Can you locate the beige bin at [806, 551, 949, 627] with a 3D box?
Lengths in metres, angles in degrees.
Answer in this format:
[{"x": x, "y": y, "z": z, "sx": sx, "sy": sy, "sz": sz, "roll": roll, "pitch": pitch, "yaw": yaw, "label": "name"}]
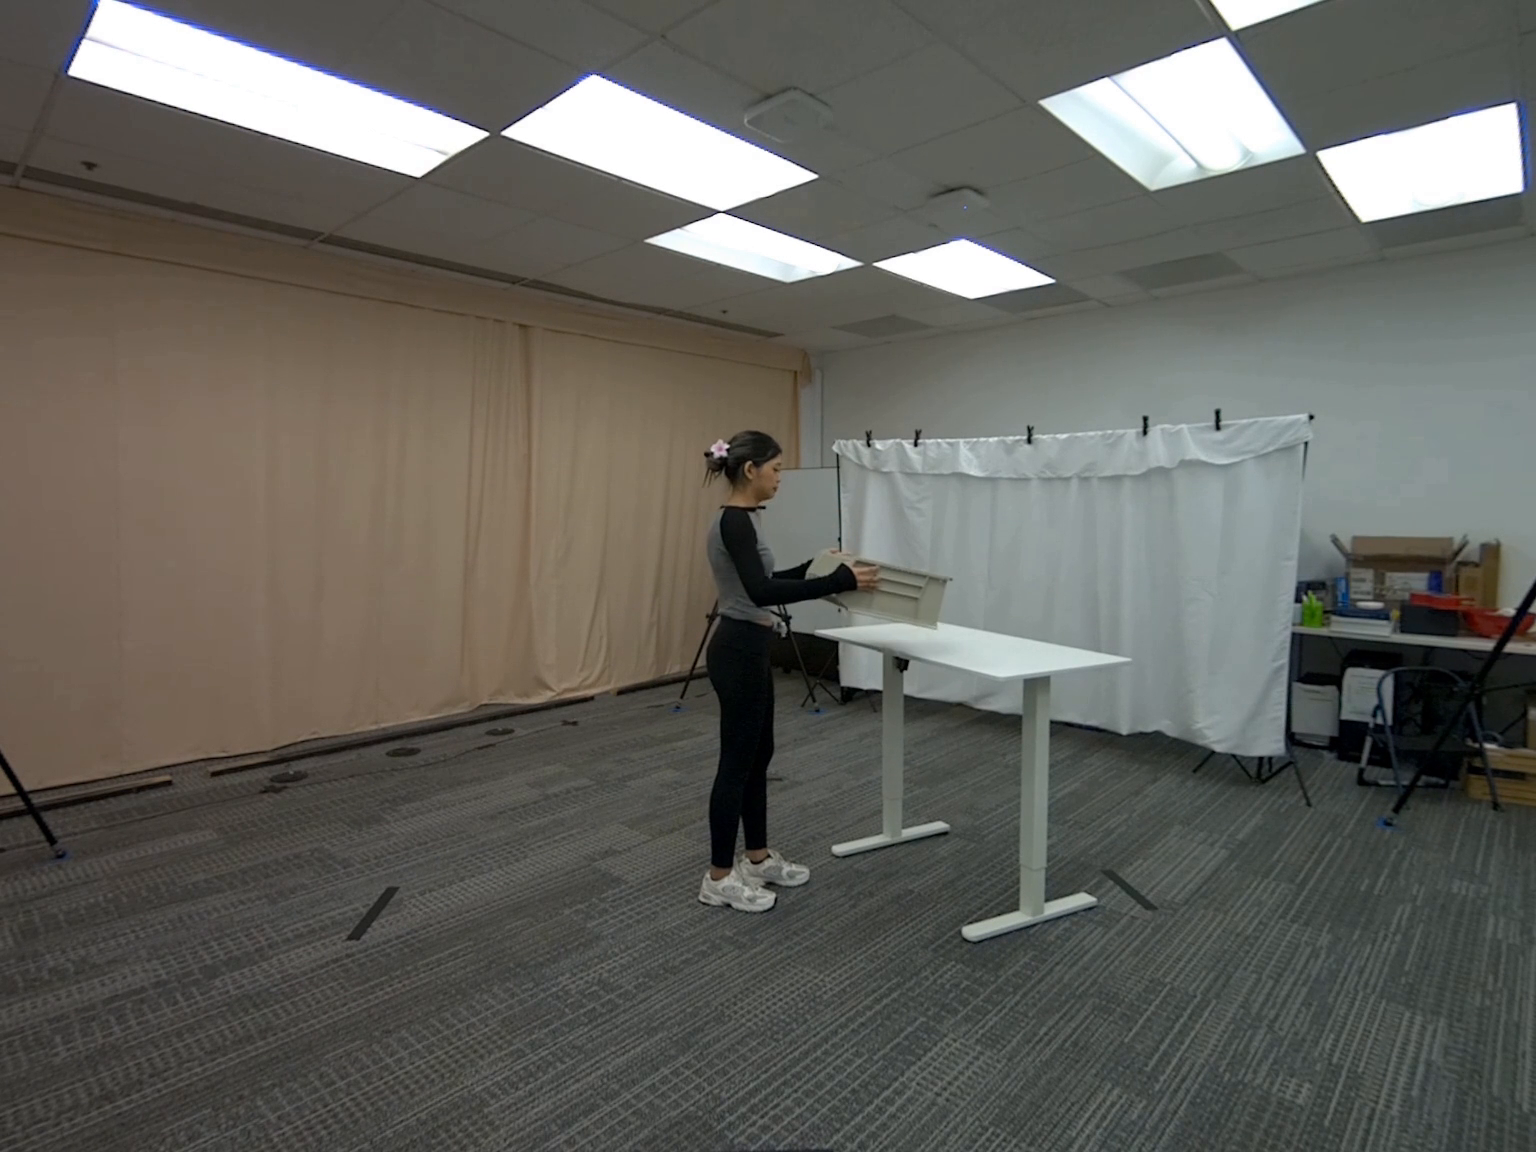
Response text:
[{"x": 0.363, "y": 0.055, "z": 2.930, "sx": 0.372, "sy": 0.189, "sz": 0.428, "roll": 14, "pitch": 3, "yaw": -12, "label": "beige bin"}]
